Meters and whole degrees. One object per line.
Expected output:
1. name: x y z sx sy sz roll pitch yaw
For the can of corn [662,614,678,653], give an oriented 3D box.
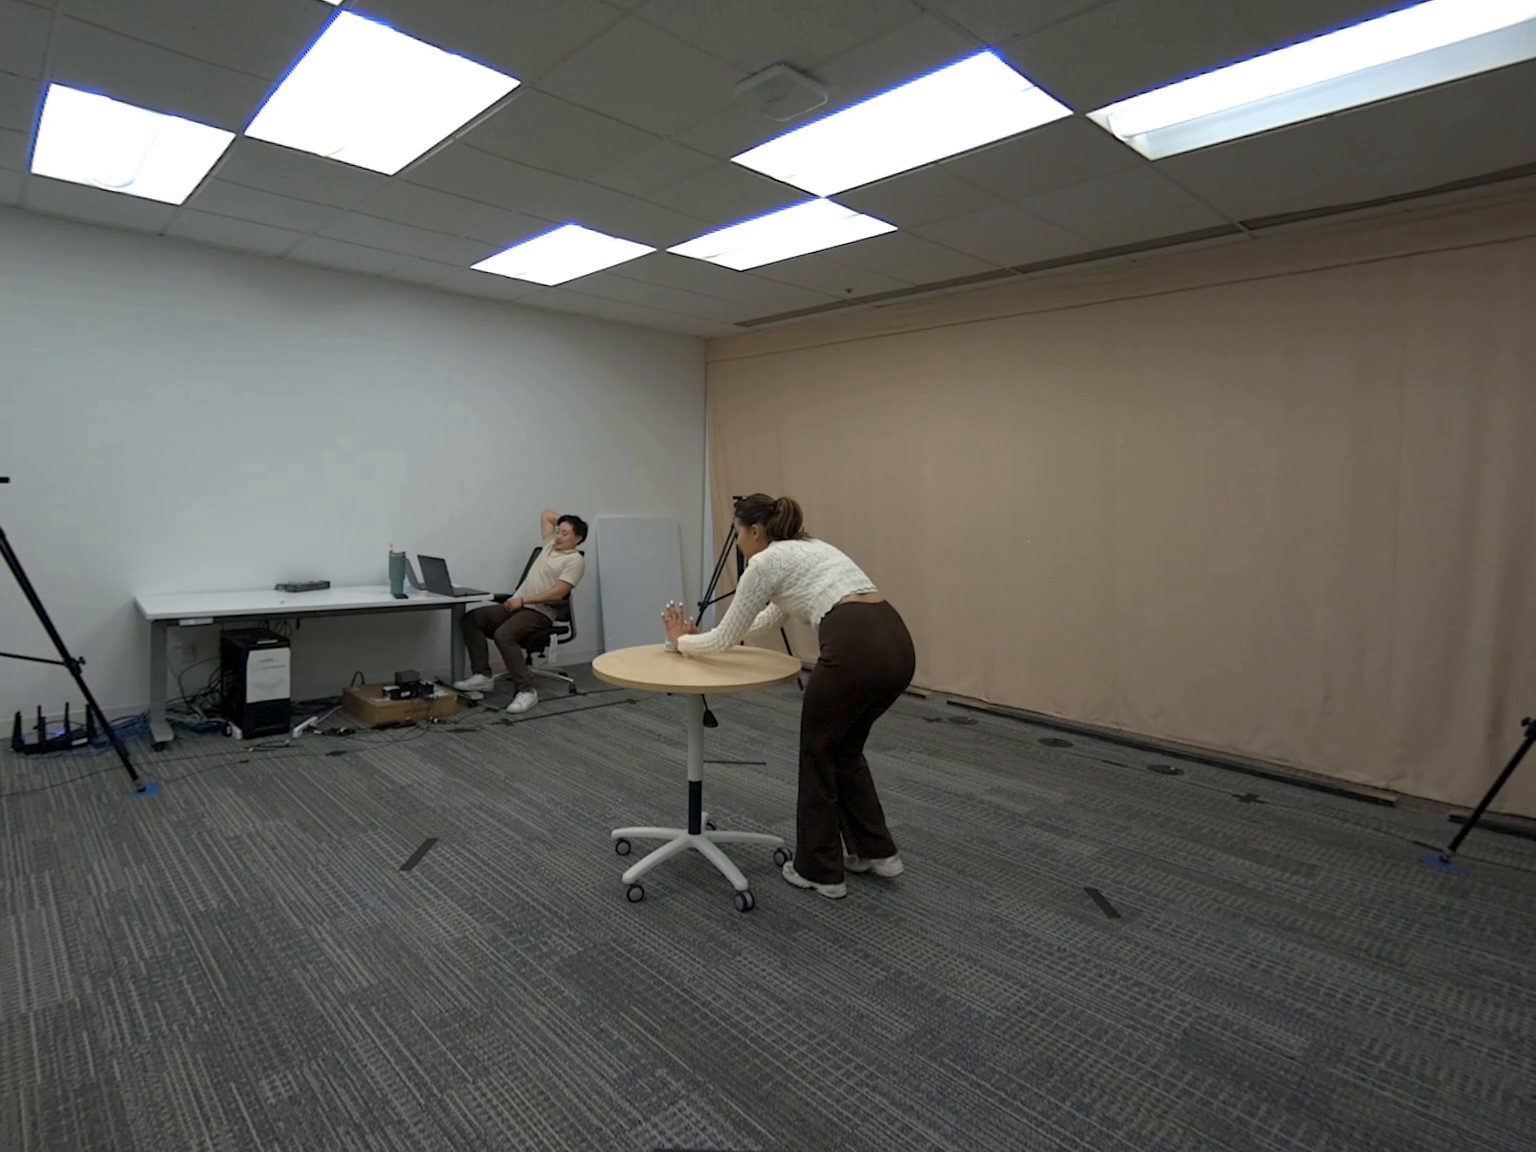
1. can of corn: -0.364 0.245 3.277 0.074 0.110 0.074 4 5 -2
